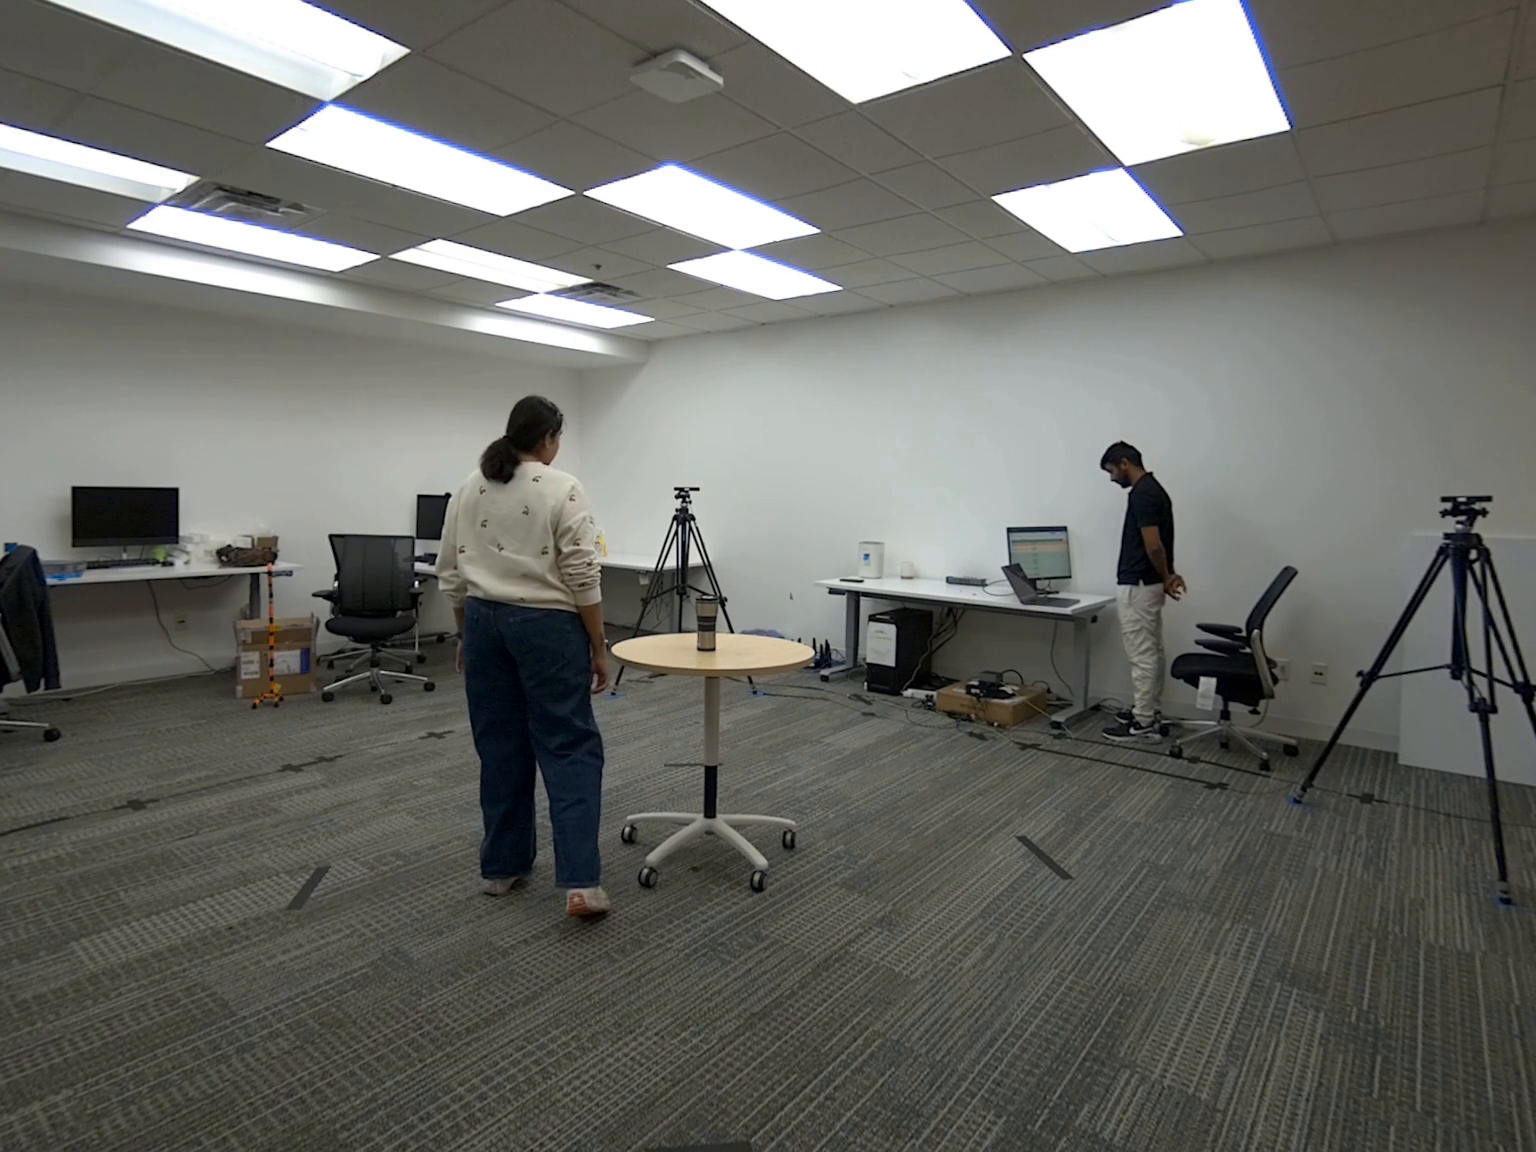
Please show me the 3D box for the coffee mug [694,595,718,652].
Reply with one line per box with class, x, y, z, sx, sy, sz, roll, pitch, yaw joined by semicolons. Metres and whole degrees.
coffee mug;-0.230;0.176;3.200;0.090;0.202;0.119;0;4;35
